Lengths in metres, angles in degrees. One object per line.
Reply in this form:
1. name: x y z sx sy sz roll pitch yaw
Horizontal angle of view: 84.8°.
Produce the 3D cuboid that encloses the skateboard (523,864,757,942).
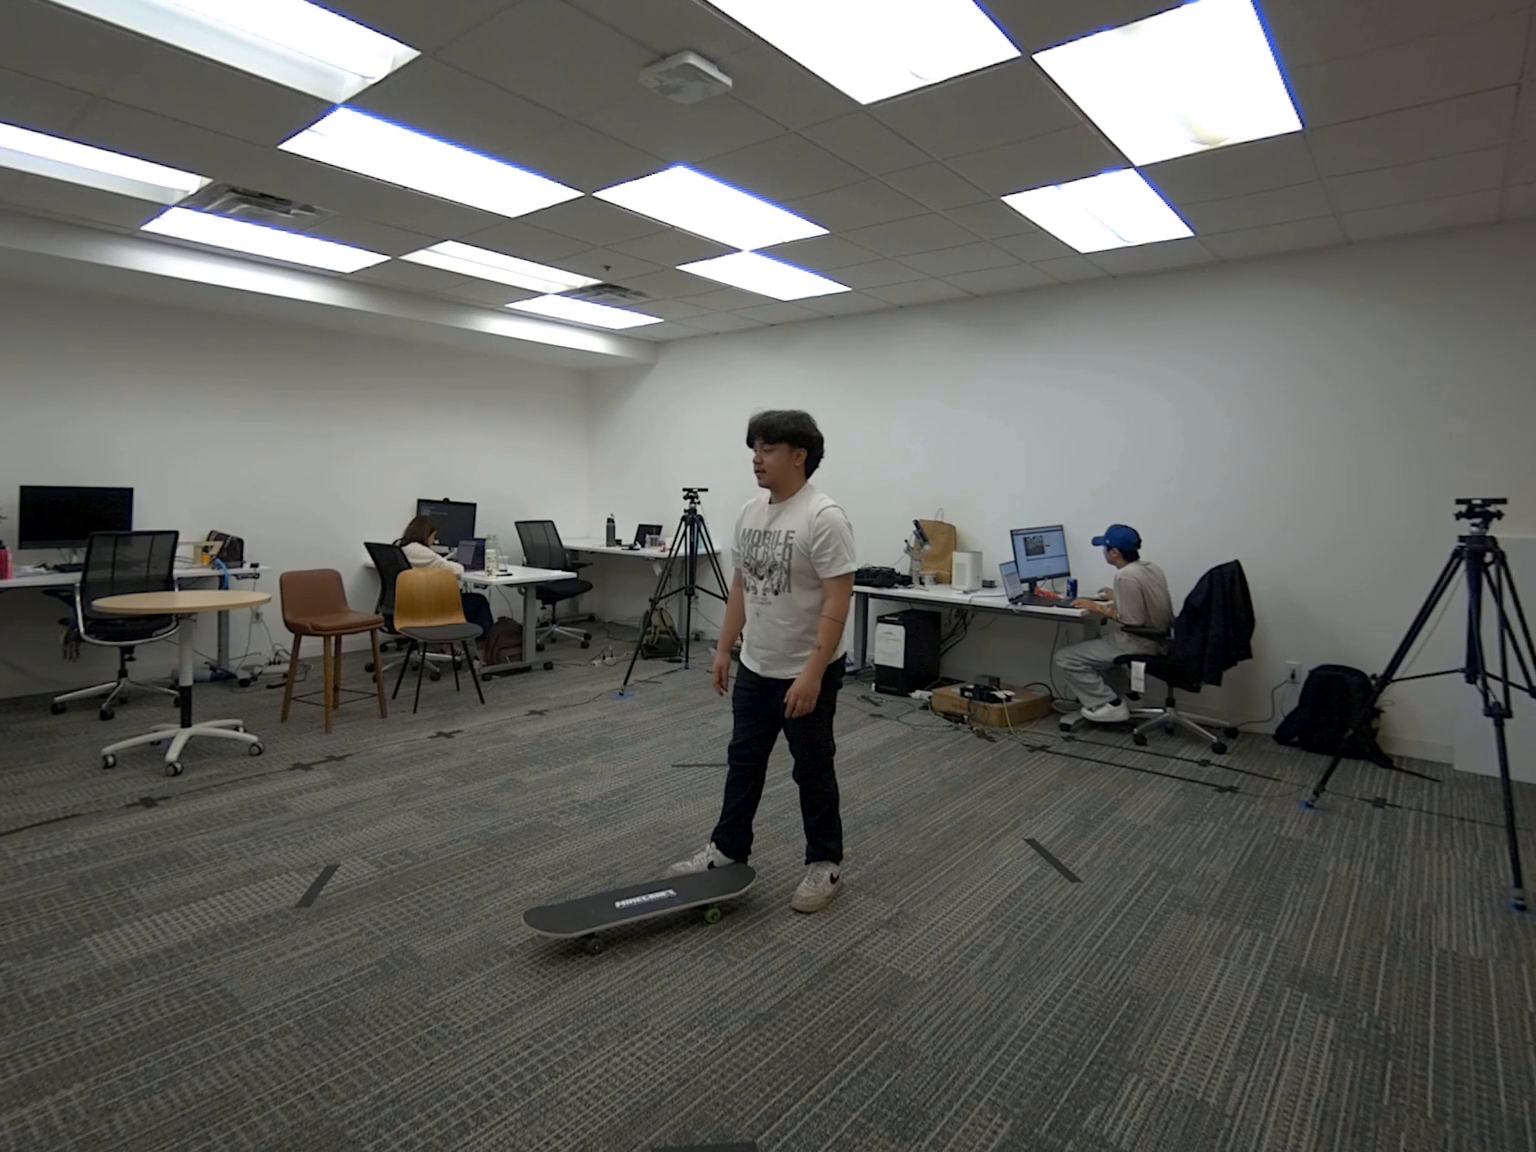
1. skateboard: -0.392 1.053 2.692 0.765 0.110 0.199 -2 5 -29
